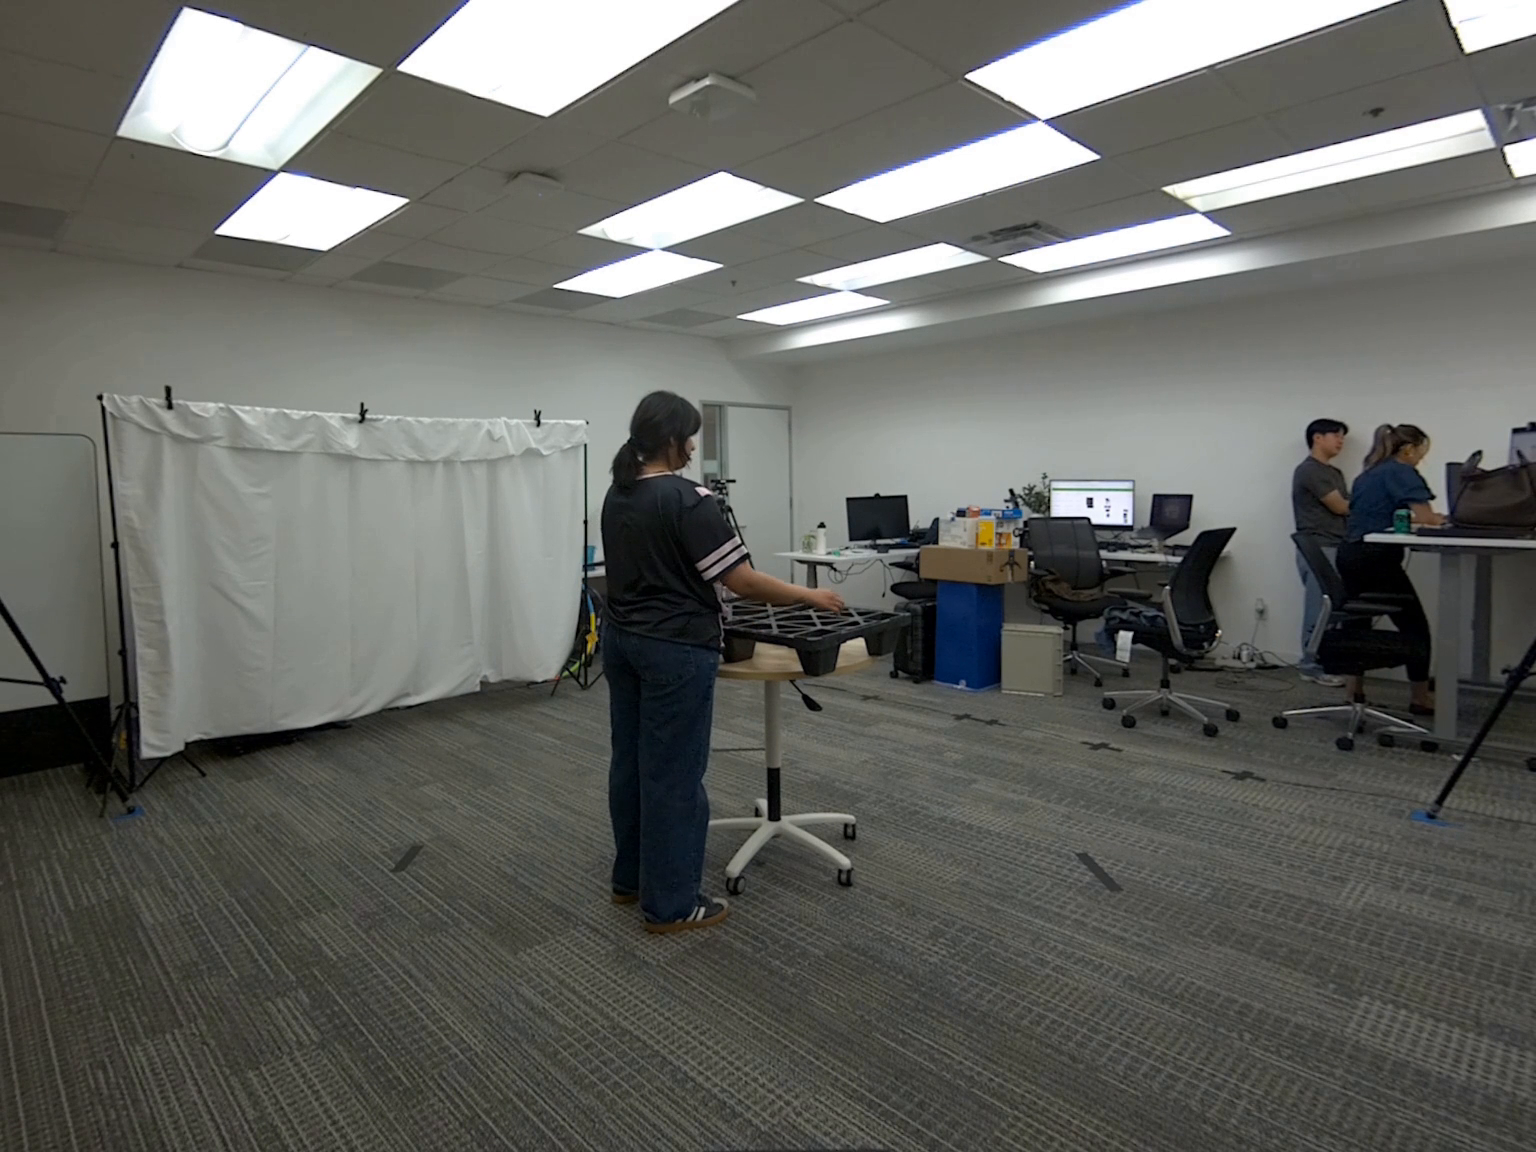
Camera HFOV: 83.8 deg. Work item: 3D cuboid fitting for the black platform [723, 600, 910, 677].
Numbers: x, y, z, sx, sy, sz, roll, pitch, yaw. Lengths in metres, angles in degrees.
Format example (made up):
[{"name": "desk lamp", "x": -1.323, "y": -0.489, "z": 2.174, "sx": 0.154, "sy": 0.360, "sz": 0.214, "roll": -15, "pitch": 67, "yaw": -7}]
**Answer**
[{"name": "black platform", "x": 0.017, "y": 0.203, "z": 3.055, "sx": 0.830, "sy": 0.142, "sz": 0.590, "roll": 4, "pitch": 9, "yaw": 41}]
